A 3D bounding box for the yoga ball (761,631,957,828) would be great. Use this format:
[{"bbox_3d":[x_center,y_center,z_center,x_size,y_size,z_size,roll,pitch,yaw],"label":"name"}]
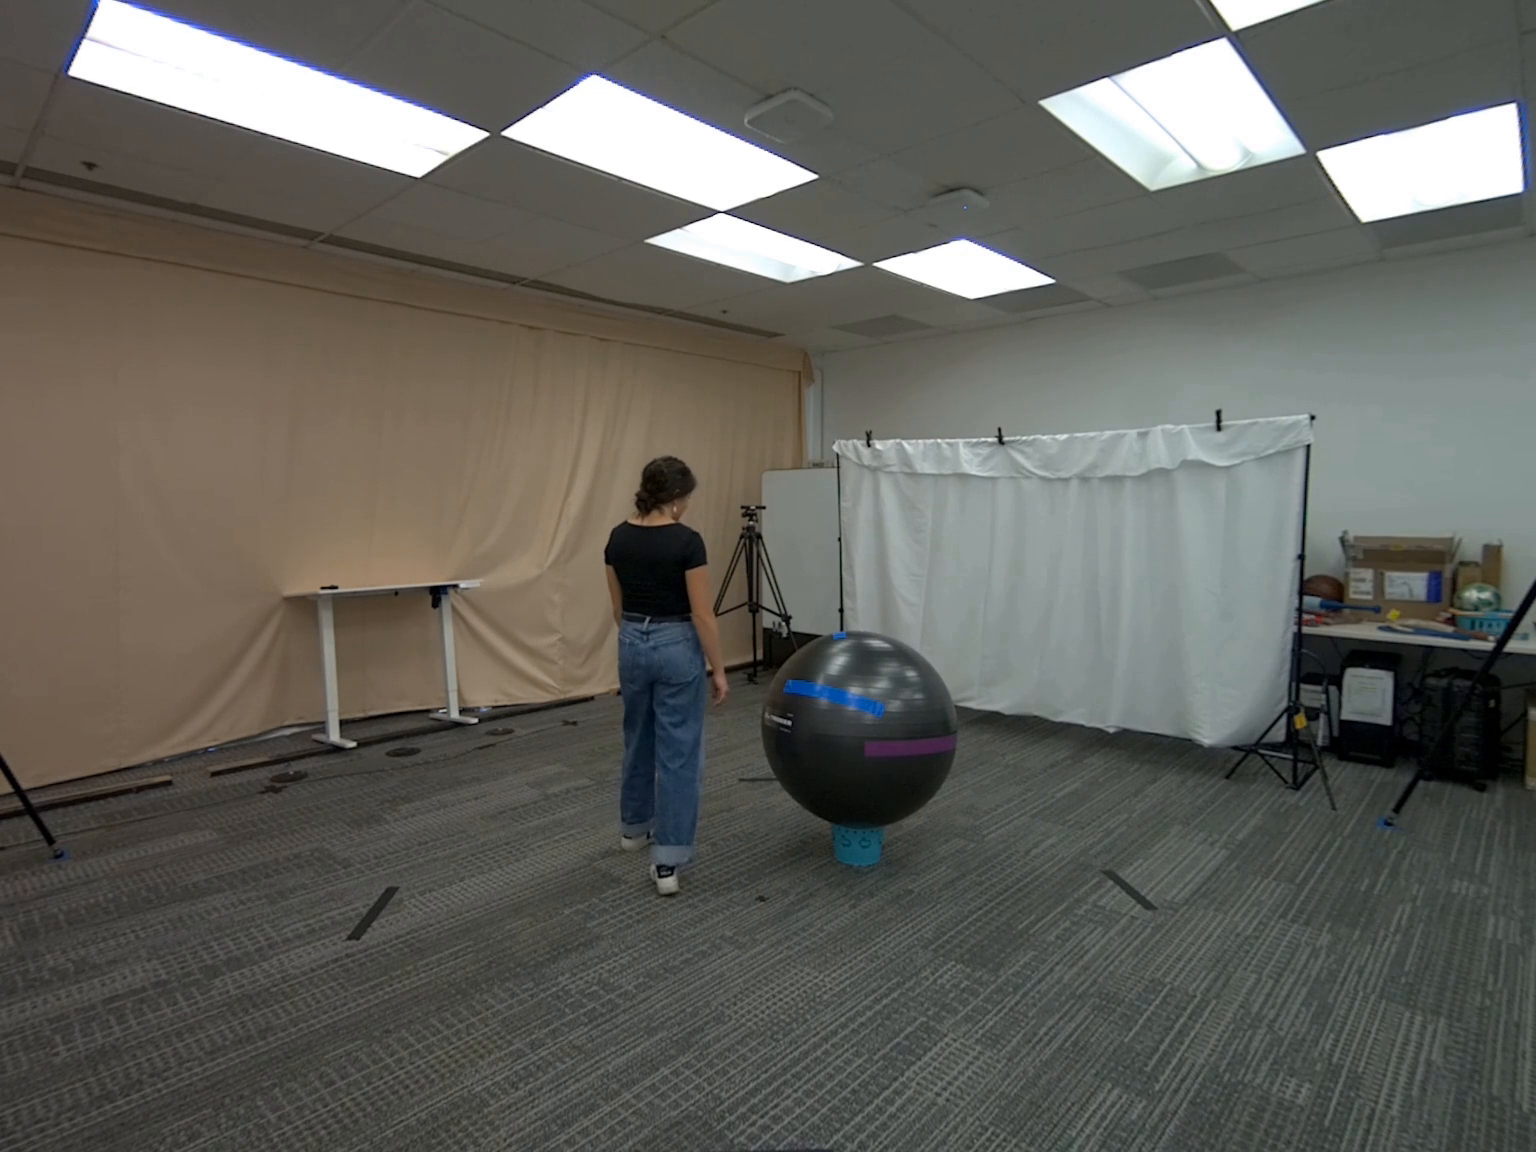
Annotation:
[{"bbox_3d":[0.362,0.600,3.334,0.757,0.756,0.760,0,4,-2],"label":"yoga ball"}]
